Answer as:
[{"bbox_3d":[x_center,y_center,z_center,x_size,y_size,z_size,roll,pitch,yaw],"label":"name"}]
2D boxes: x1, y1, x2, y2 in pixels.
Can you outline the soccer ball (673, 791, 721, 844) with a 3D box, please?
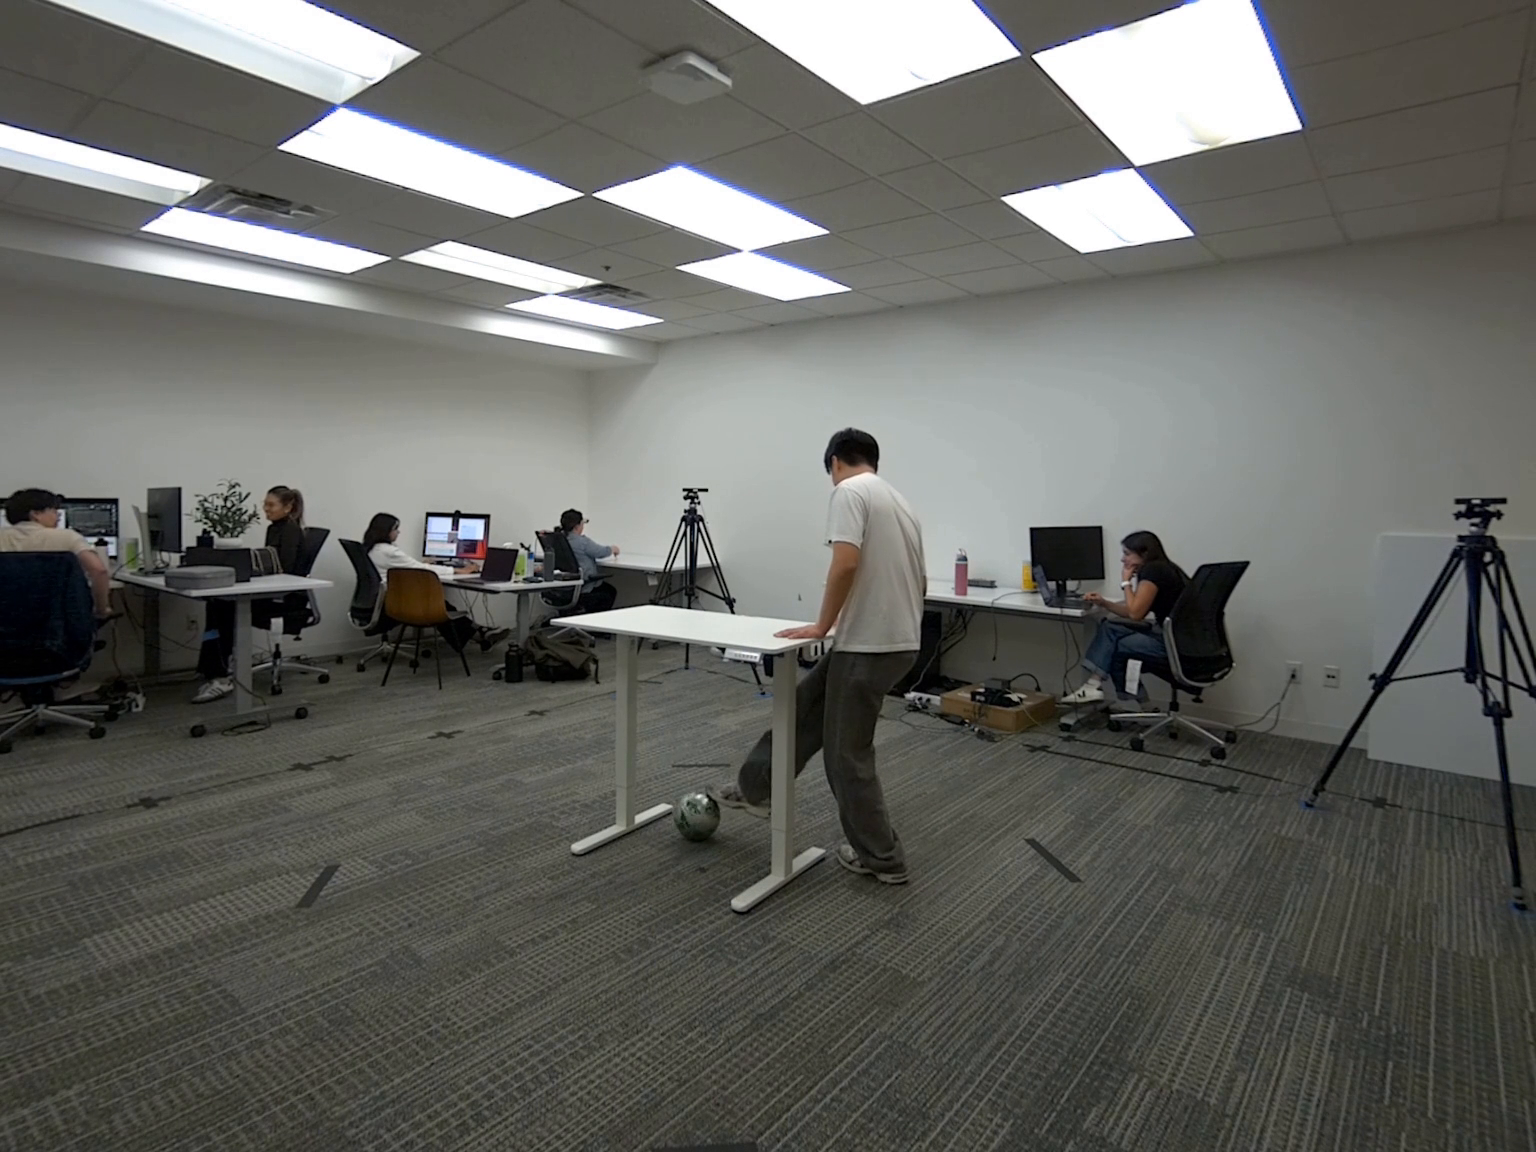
[{"bbox_3d":[-0.258,0.947,3.393,0.187,0.187,0.188,1,4,-2],"label":"soccer ball"}]
